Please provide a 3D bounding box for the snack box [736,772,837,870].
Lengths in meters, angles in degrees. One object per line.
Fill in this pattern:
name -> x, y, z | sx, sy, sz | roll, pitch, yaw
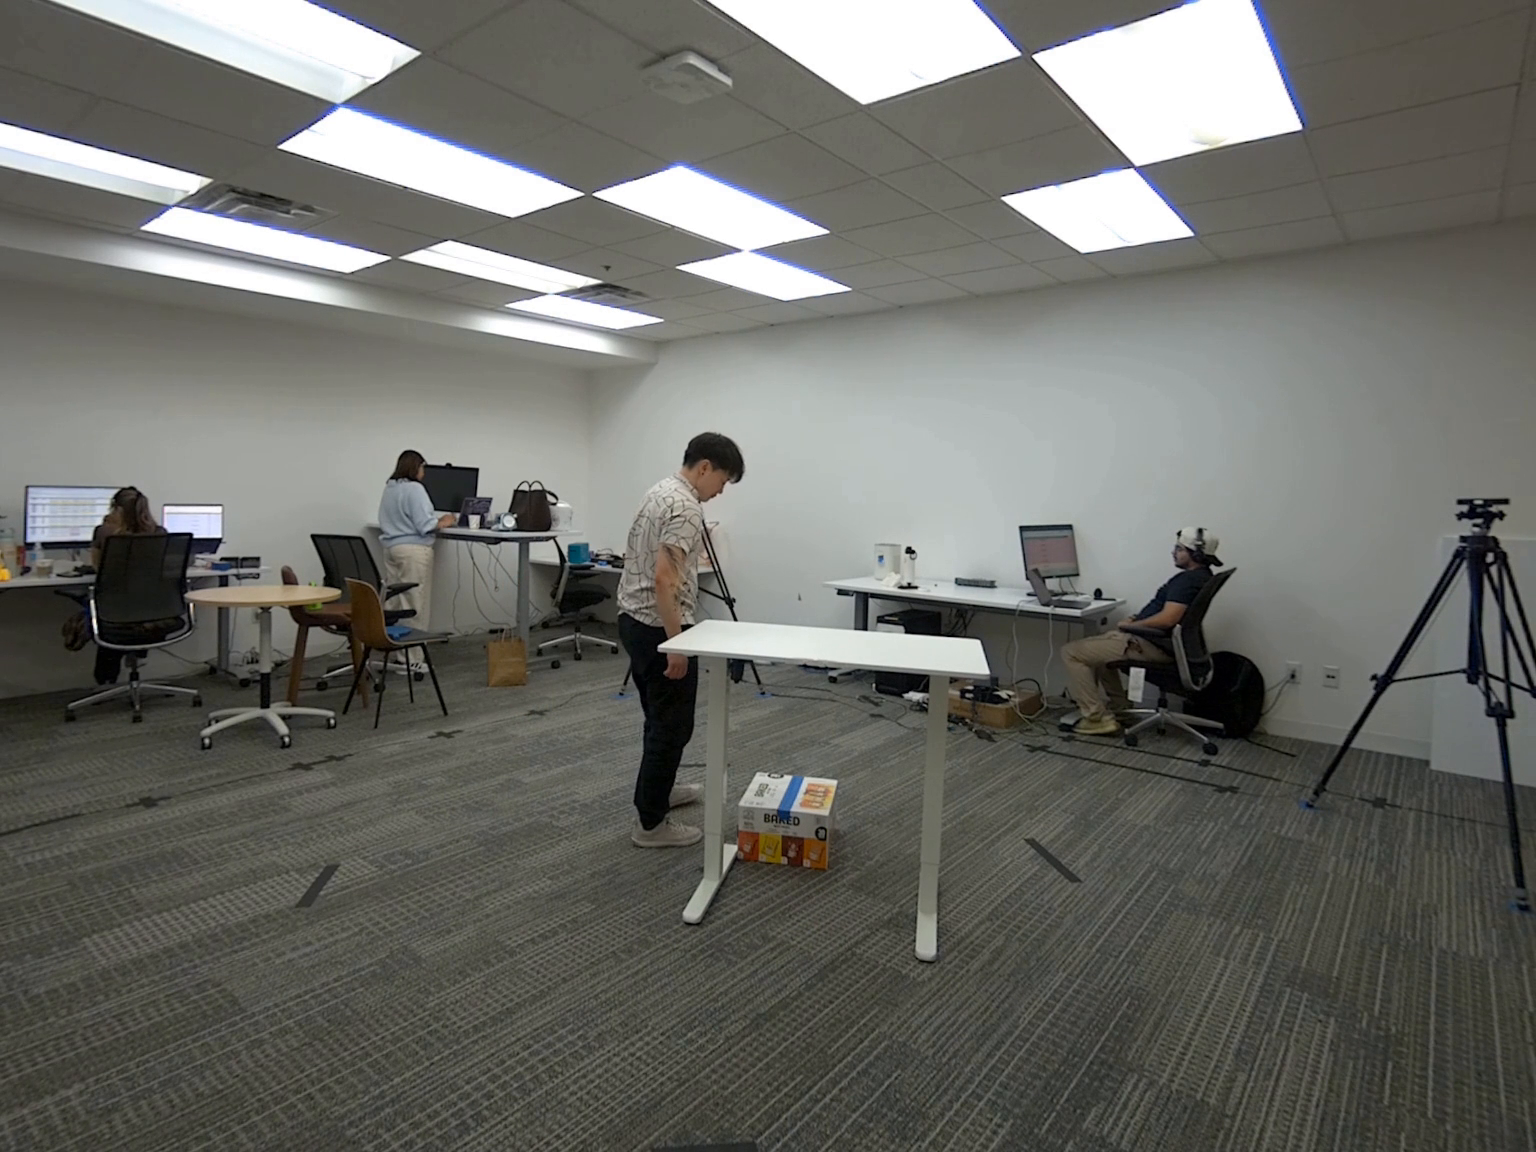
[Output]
snack box -> 0.077, 0.950, 3.351 | 0.345, 0.205, 0.401 | 2, 5, 11
